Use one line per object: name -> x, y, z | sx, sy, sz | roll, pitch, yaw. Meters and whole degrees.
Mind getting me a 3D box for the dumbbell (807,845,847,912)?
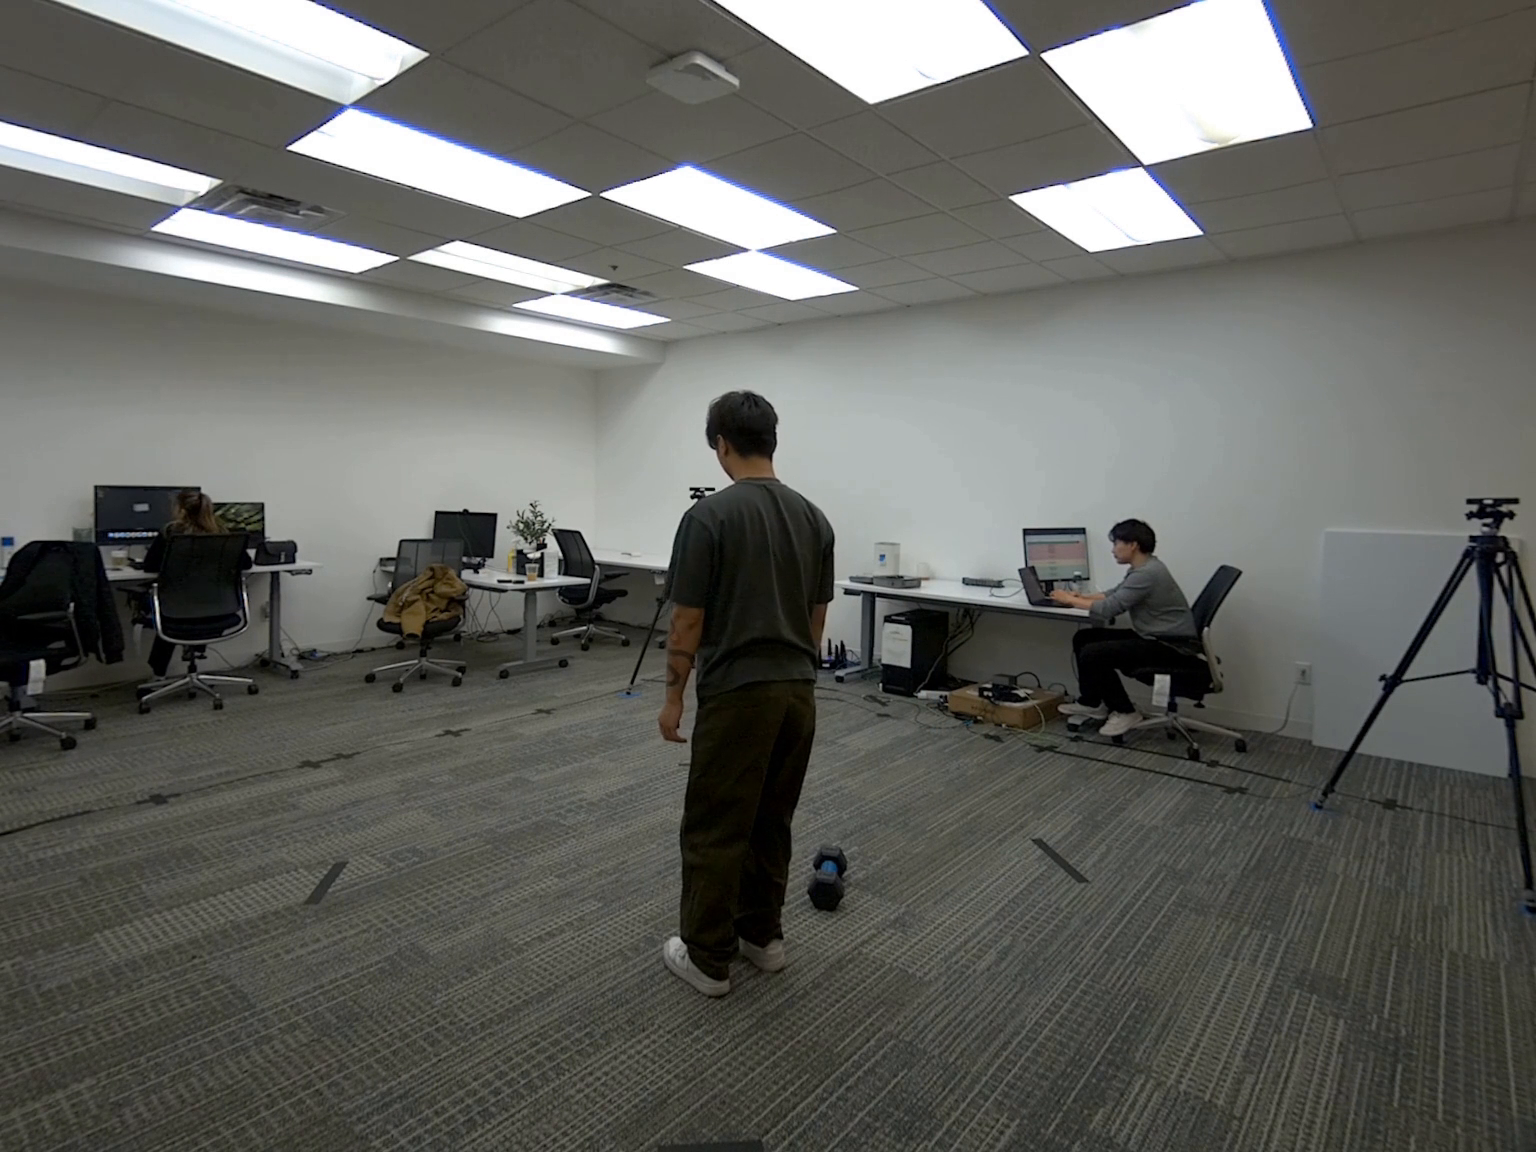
dumbbell -> 0.202, 1.034, 2.951 | 0.124, 0.108, 0.291 | 0, 4, 9
